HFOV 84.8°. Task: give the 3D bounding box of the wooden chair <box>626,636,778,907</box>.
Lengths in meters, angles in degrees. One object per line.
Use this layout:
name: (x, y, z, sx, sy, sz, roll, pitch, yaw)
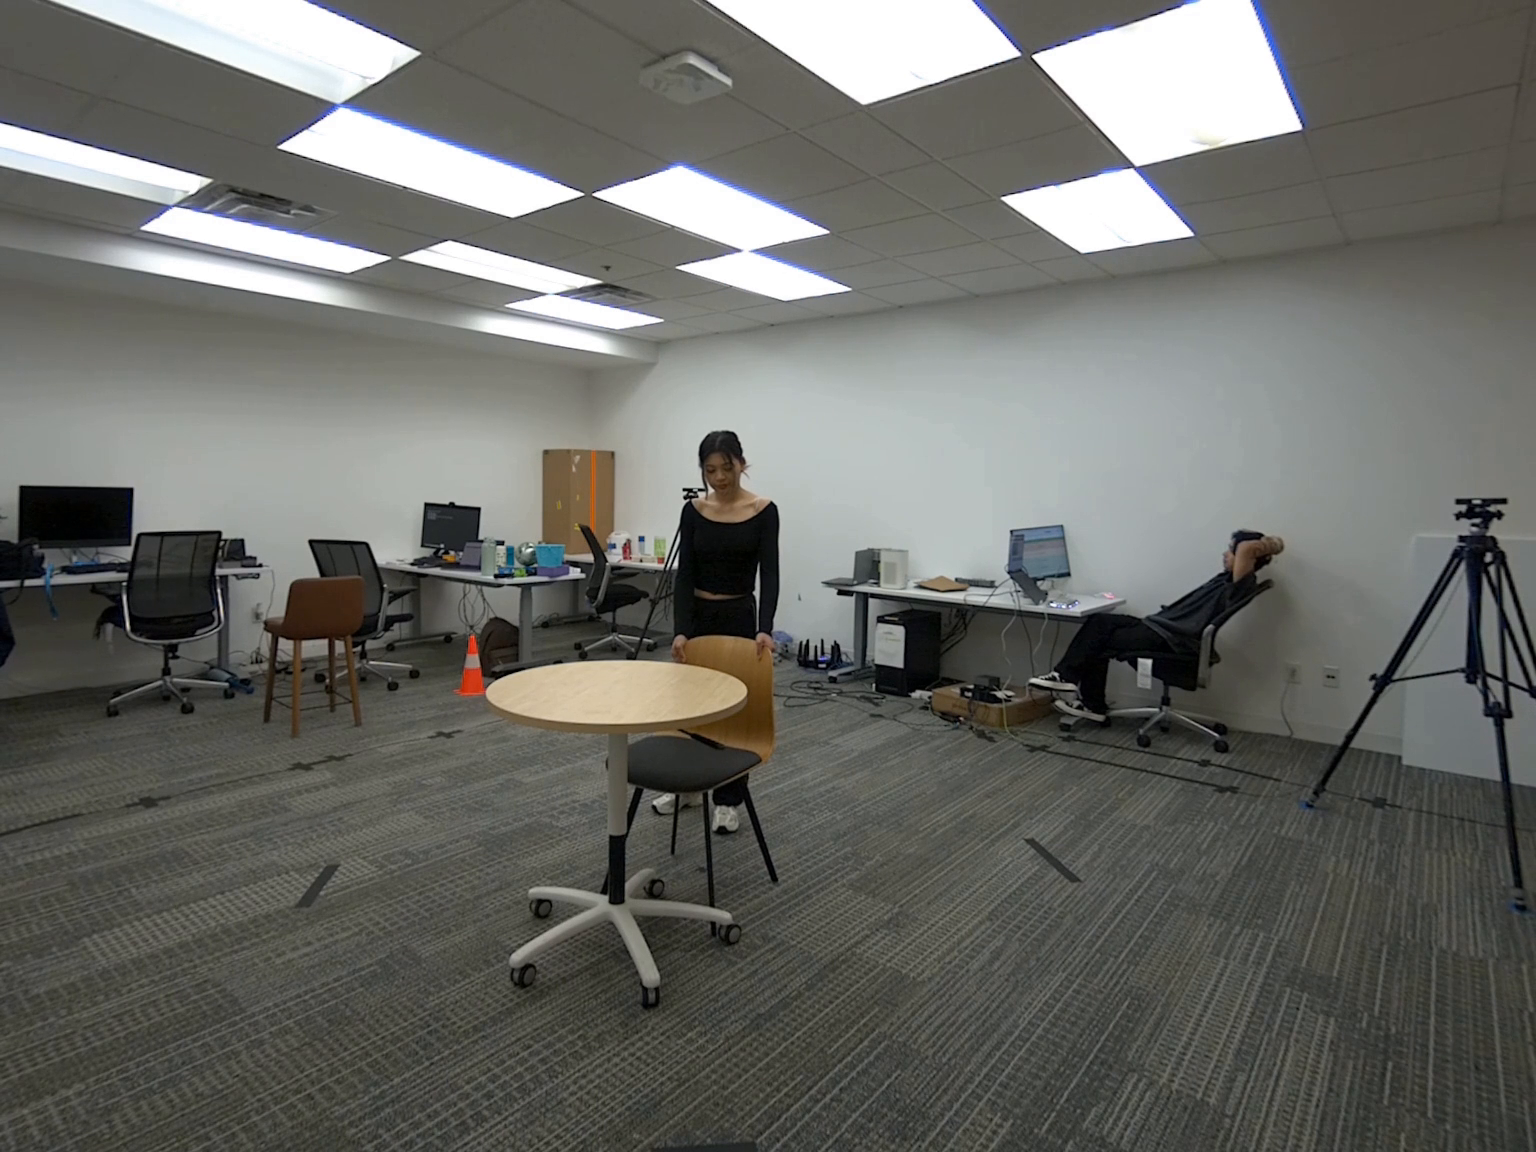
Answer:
wooden chair: (-0.263, 0.656, 2.908, 0.492, 0.878, 0.508, 3, -1, 28)
